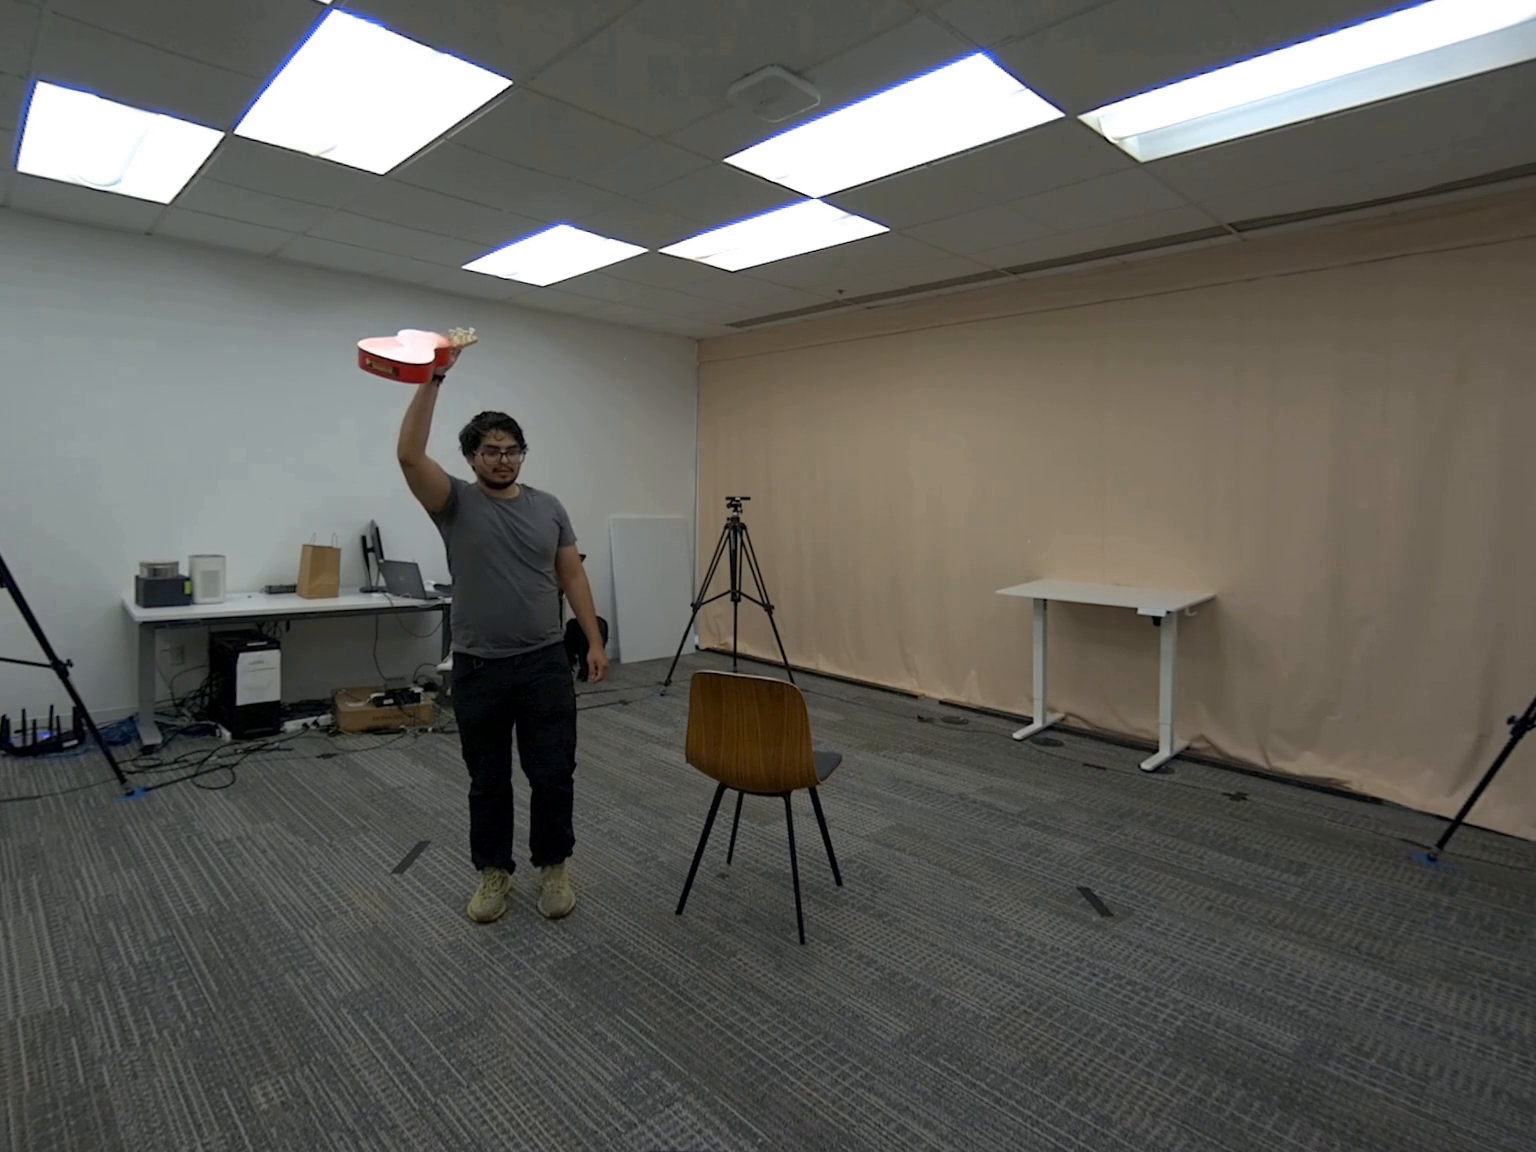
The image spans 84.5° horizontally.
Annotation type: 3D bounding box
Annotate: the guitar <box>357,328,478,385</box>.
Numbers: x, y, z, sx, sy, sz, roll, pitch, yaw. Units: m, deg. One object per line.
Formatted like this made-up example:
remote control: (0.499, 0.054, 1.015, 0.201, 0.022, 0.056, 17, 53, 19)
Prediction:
guitar: (-0.990, -0.657, 2.379, 0.192, 0.070, 0.506, 12, 29, -5)
